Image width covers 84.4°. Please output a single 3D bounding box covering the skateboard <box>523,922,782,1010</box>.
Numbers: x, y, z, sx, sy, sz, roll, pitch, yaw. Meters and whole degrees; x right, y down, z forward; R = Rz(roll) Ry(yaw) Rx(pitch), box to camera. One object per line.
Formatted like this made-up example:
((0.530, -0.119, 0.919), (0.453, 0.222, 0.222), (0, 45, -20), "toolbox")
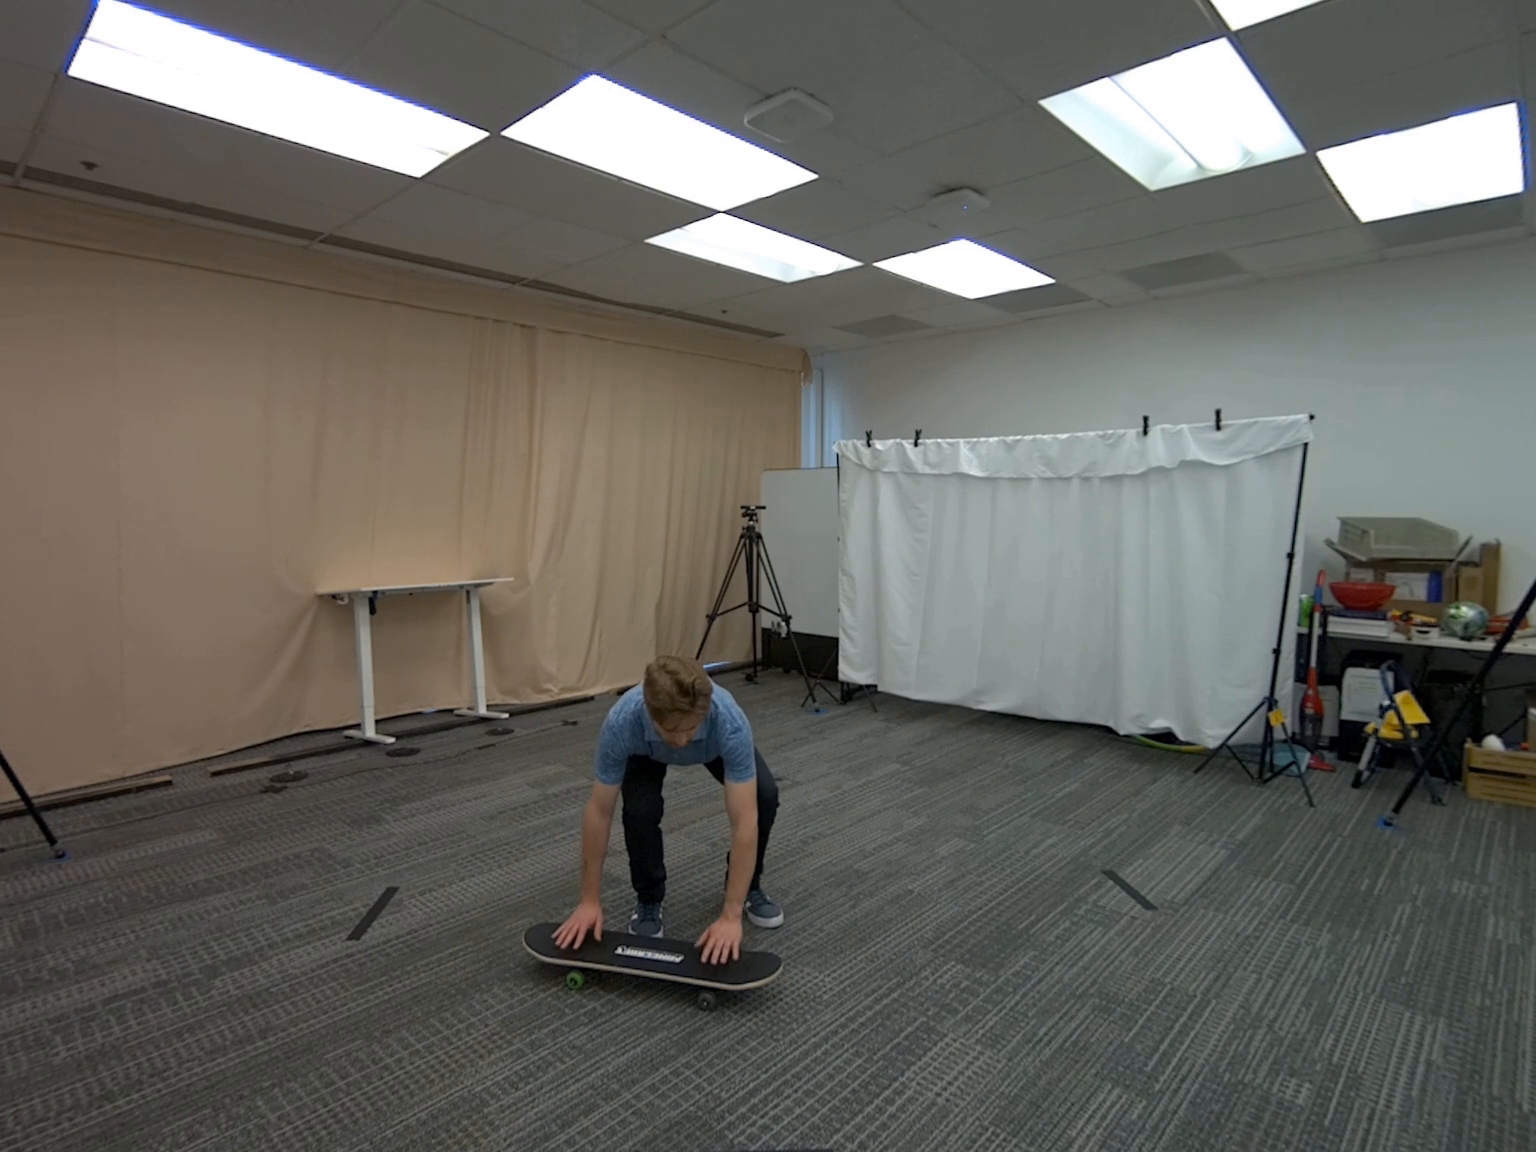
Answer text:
((-0.348, 1.132, 2.451), (0.799, 0.110, 0.190), (1, 3, 16), "skateboard")
